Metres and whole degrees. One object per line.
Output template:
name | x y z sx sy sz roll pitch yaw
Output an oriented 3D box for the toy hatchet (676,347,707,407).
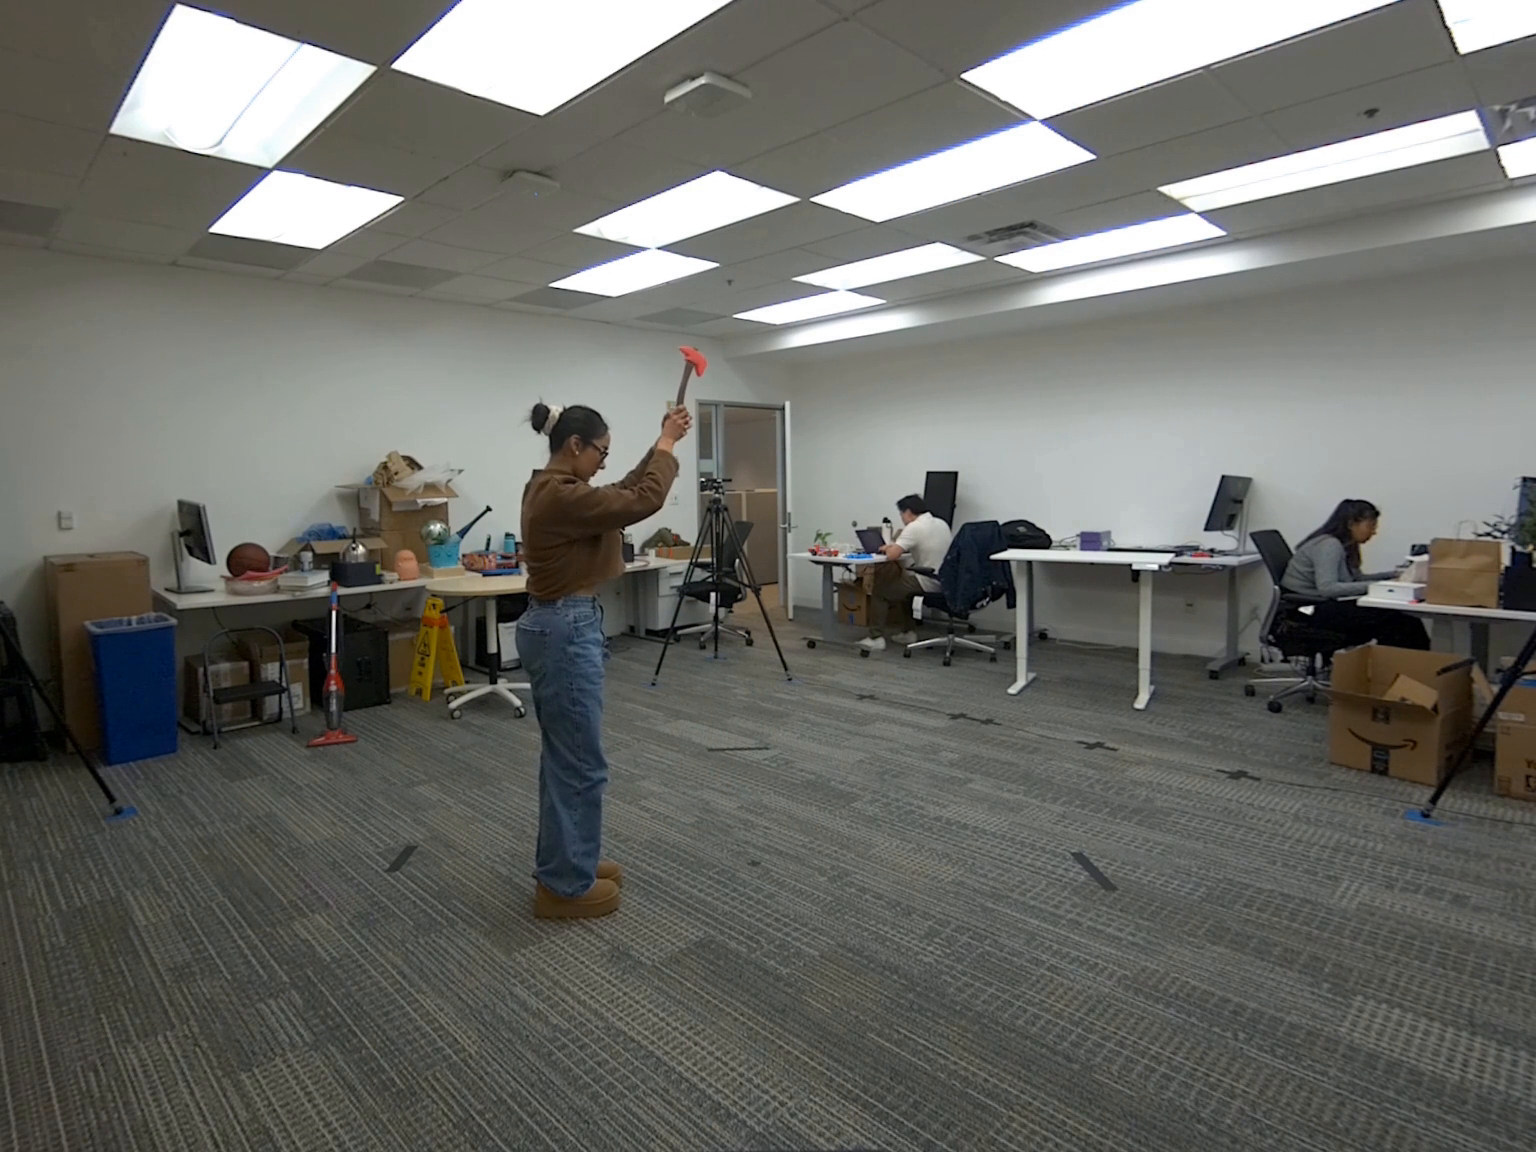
toy hatchet | -0.262 -0.641 2.909 0.030 0.268 0.127 11 9 40
